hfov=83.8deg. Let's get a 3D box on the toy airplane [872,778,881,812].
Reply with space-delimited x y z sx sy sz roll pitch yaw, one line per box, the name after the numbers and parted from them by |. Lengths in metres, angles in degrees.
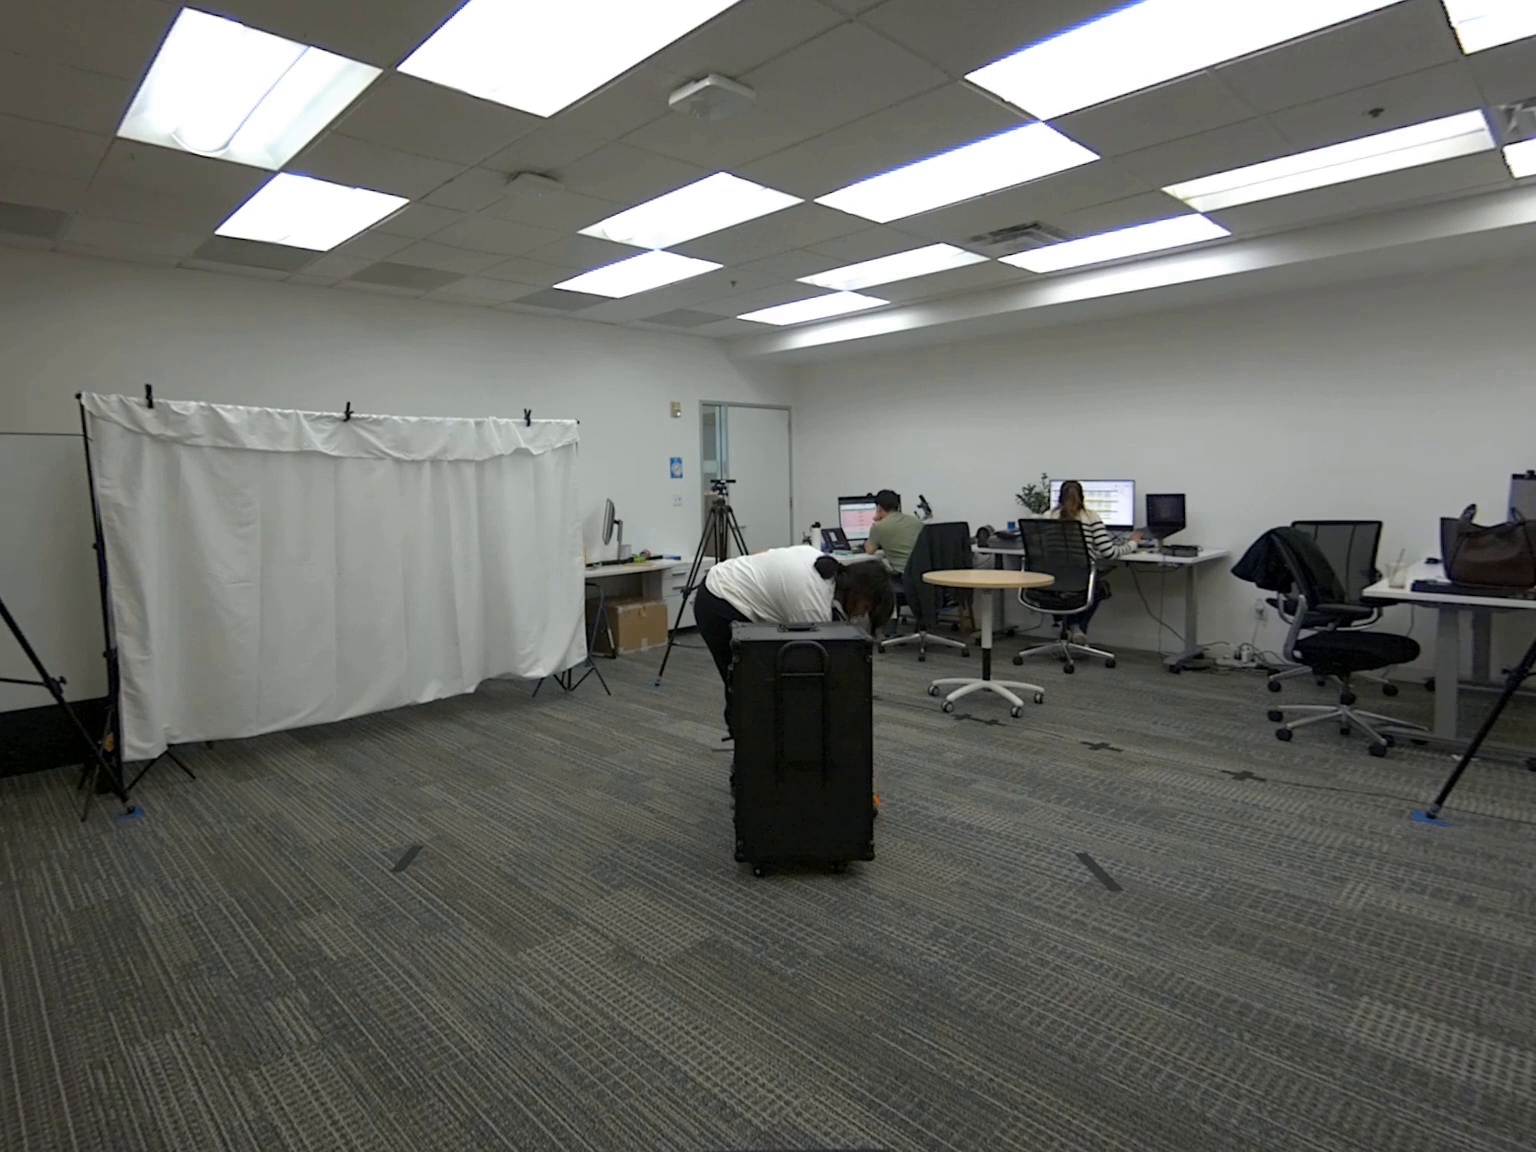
0.330 0.924 3.517 0.263 0.156 0.248 2 5 14 | toy airplane
